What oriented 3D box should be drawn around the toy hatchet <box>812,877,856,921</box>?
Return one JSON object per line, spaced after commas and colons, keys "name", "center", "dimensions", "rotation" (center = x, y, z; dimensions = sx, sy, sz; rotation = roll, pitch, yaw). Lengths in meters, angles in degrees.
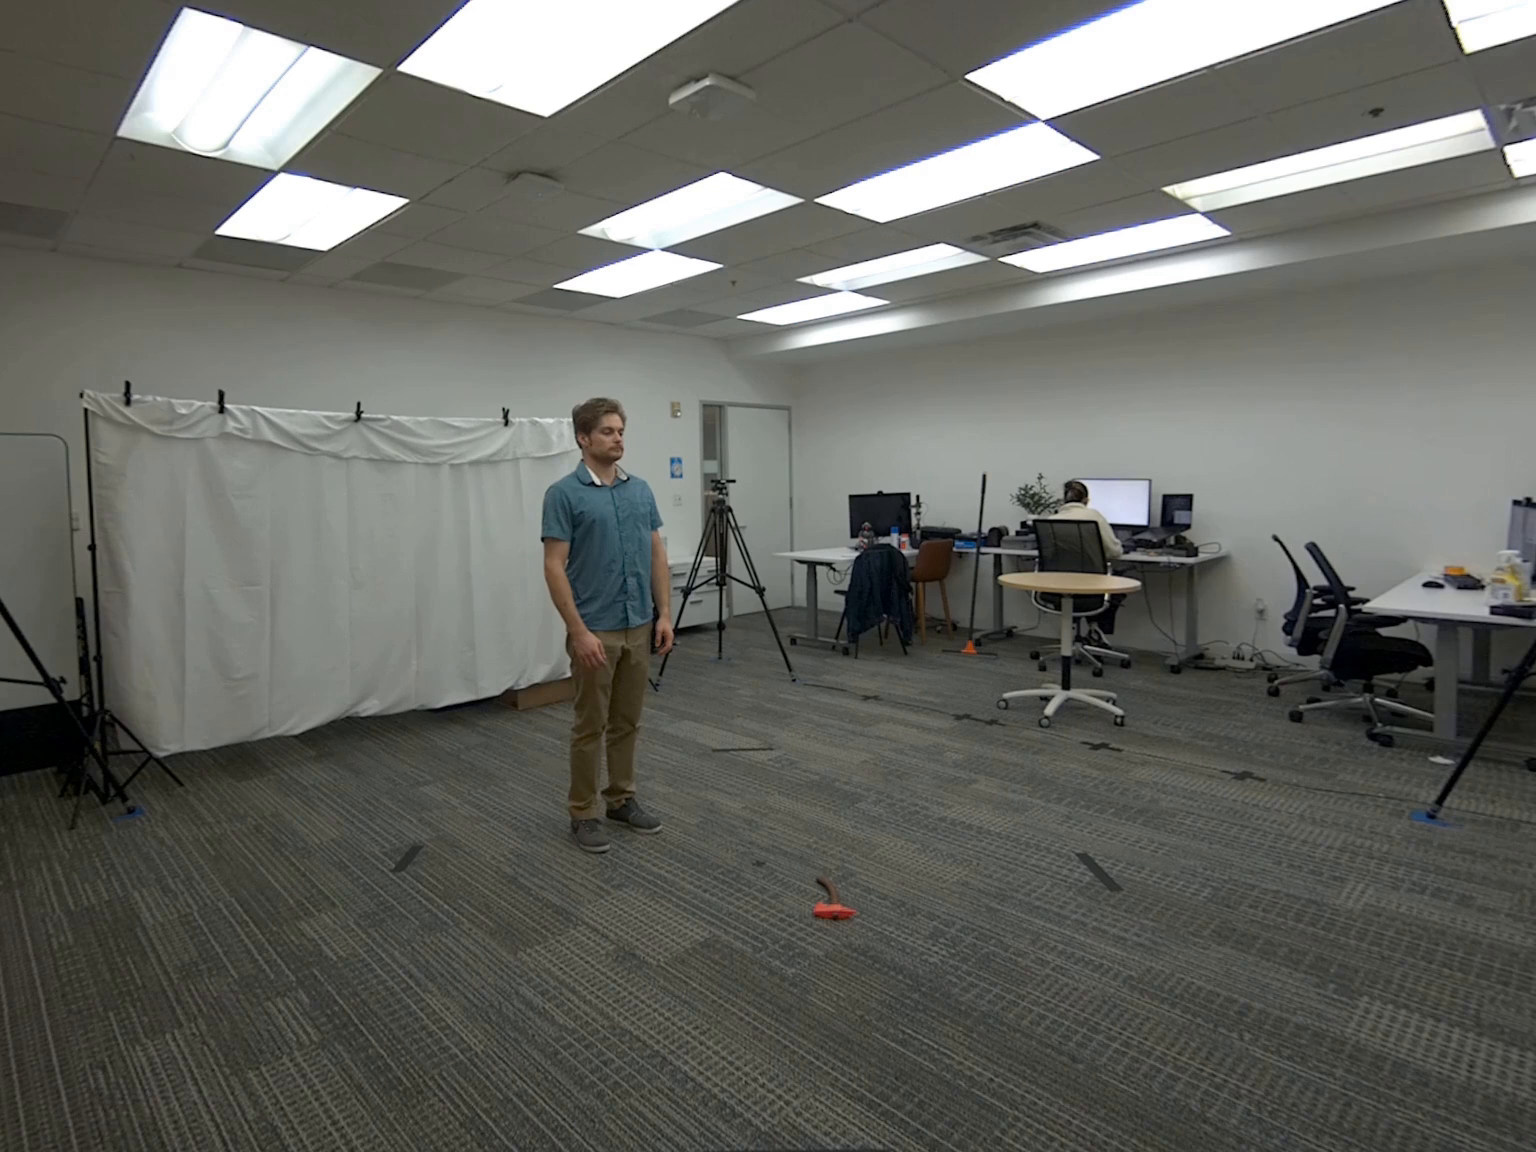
{"name": "toy hatchet", "center": [0.184, 1.066, 2.824], "dimensions": [0.129, 0.029, 0.275], "rotation": [-6, 5, -17]}
